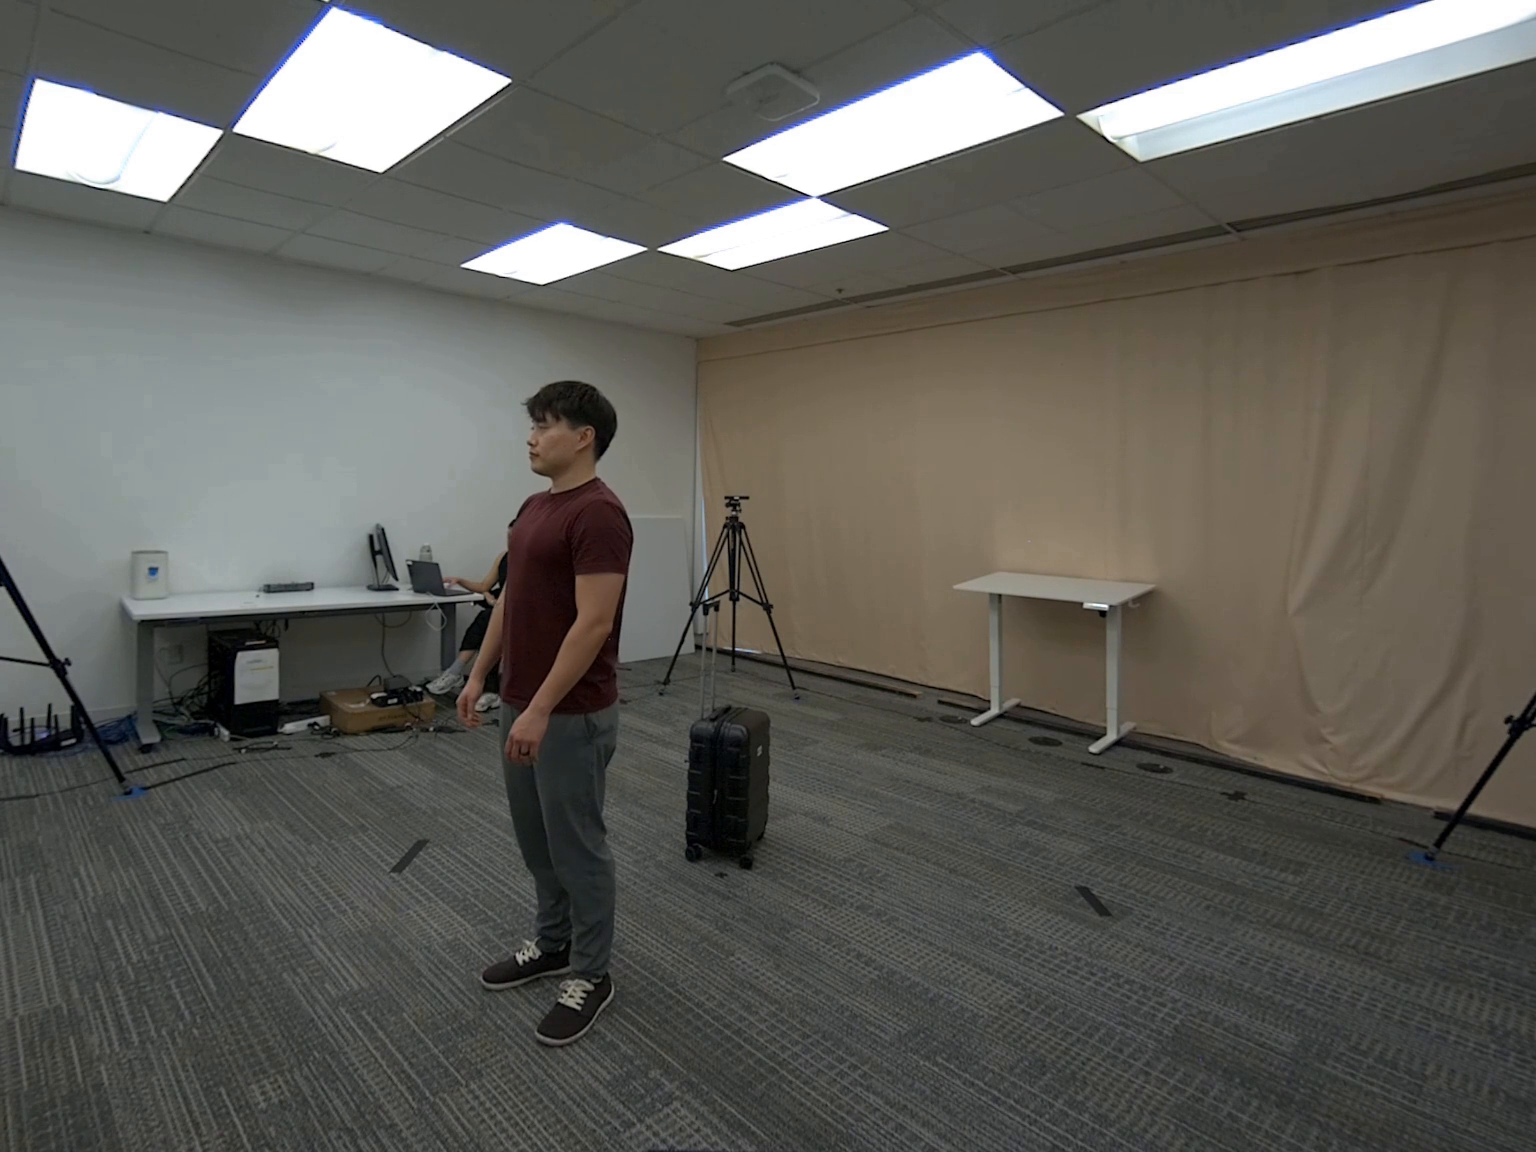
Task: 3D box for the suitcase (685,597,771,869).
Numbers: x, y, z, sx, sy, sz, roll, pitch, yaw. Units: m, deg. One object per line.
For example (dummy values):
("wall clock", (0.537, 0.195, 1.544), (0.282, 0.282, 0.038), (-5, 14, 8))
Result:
("suitcase", (-0.146, 0.605, 3.326), (0.260, 0.977, 0.379), (4, 3, 15))
